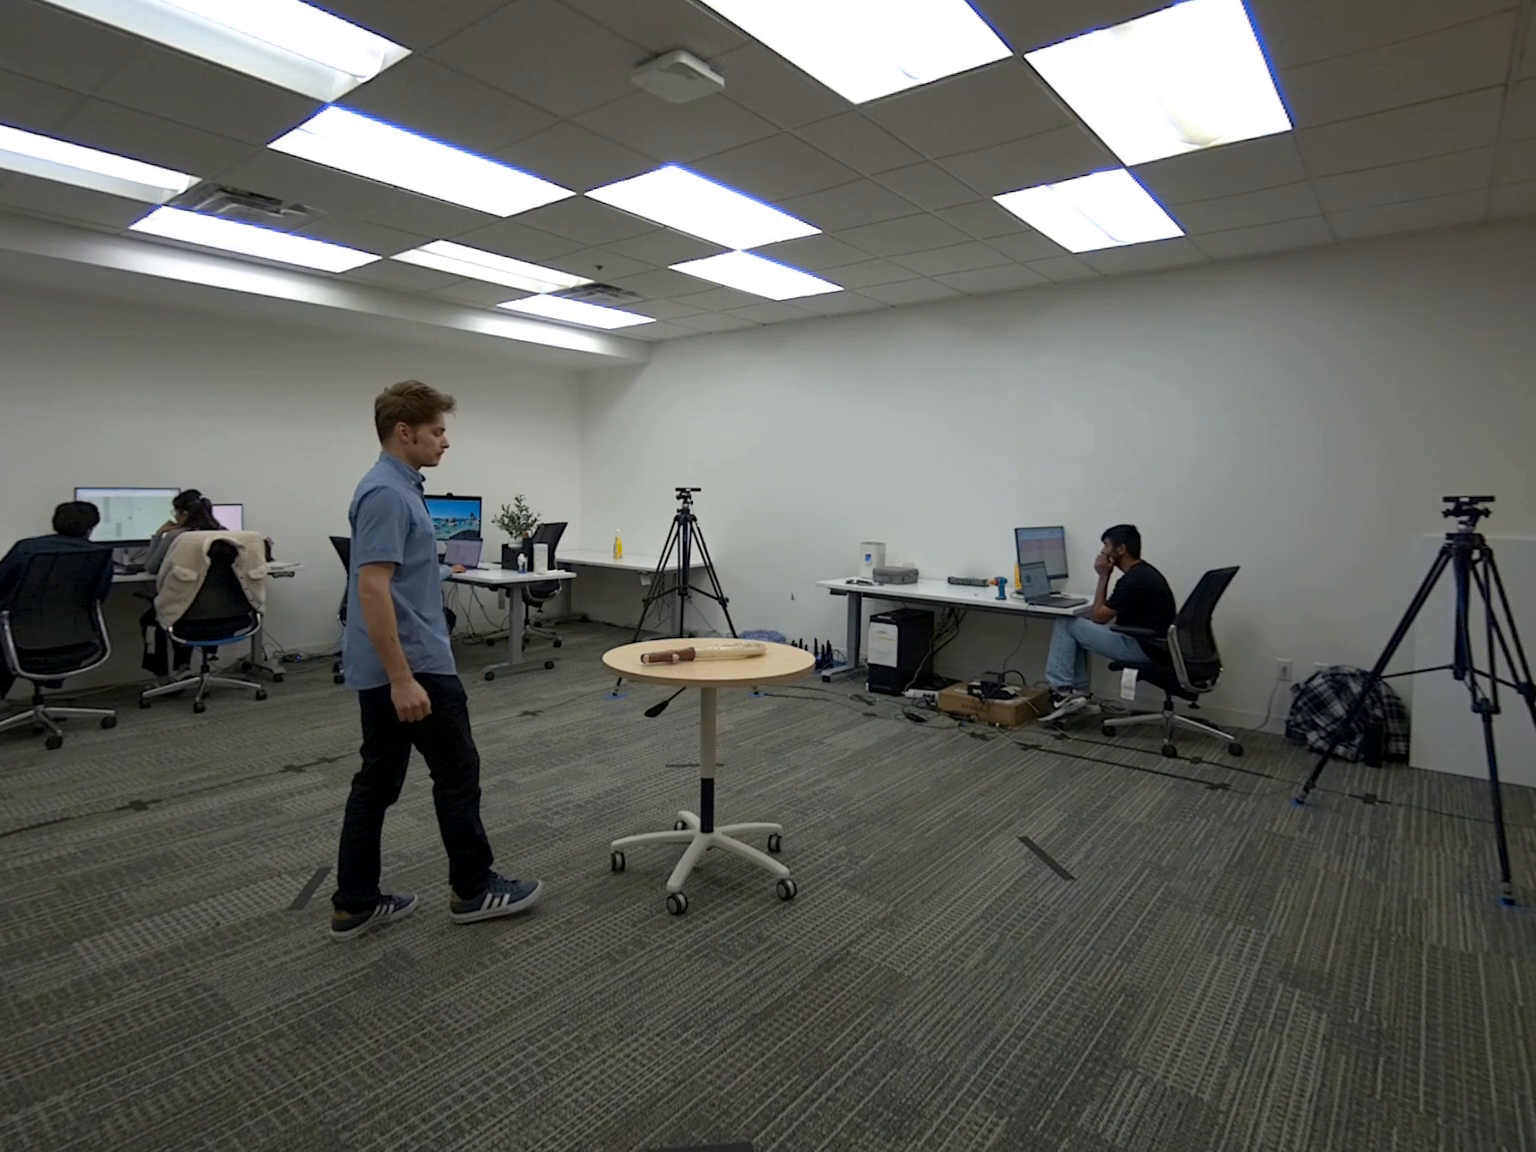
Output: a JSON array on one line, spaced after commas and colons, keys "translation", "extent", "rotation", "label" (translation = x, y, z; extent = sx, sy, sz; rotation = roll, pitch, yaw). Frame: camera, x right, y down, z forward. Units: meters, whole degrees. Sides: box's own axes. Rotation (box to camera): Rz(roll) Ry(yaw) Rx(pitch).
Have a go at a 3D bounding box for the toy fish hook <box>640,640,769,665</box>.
[{"translation": [-0.254, 0.279, 3.060], "extent": [0.493, 0.048, 0.230], "rotation": [-2, 0, -29], "label": "toy fish hook"}]
